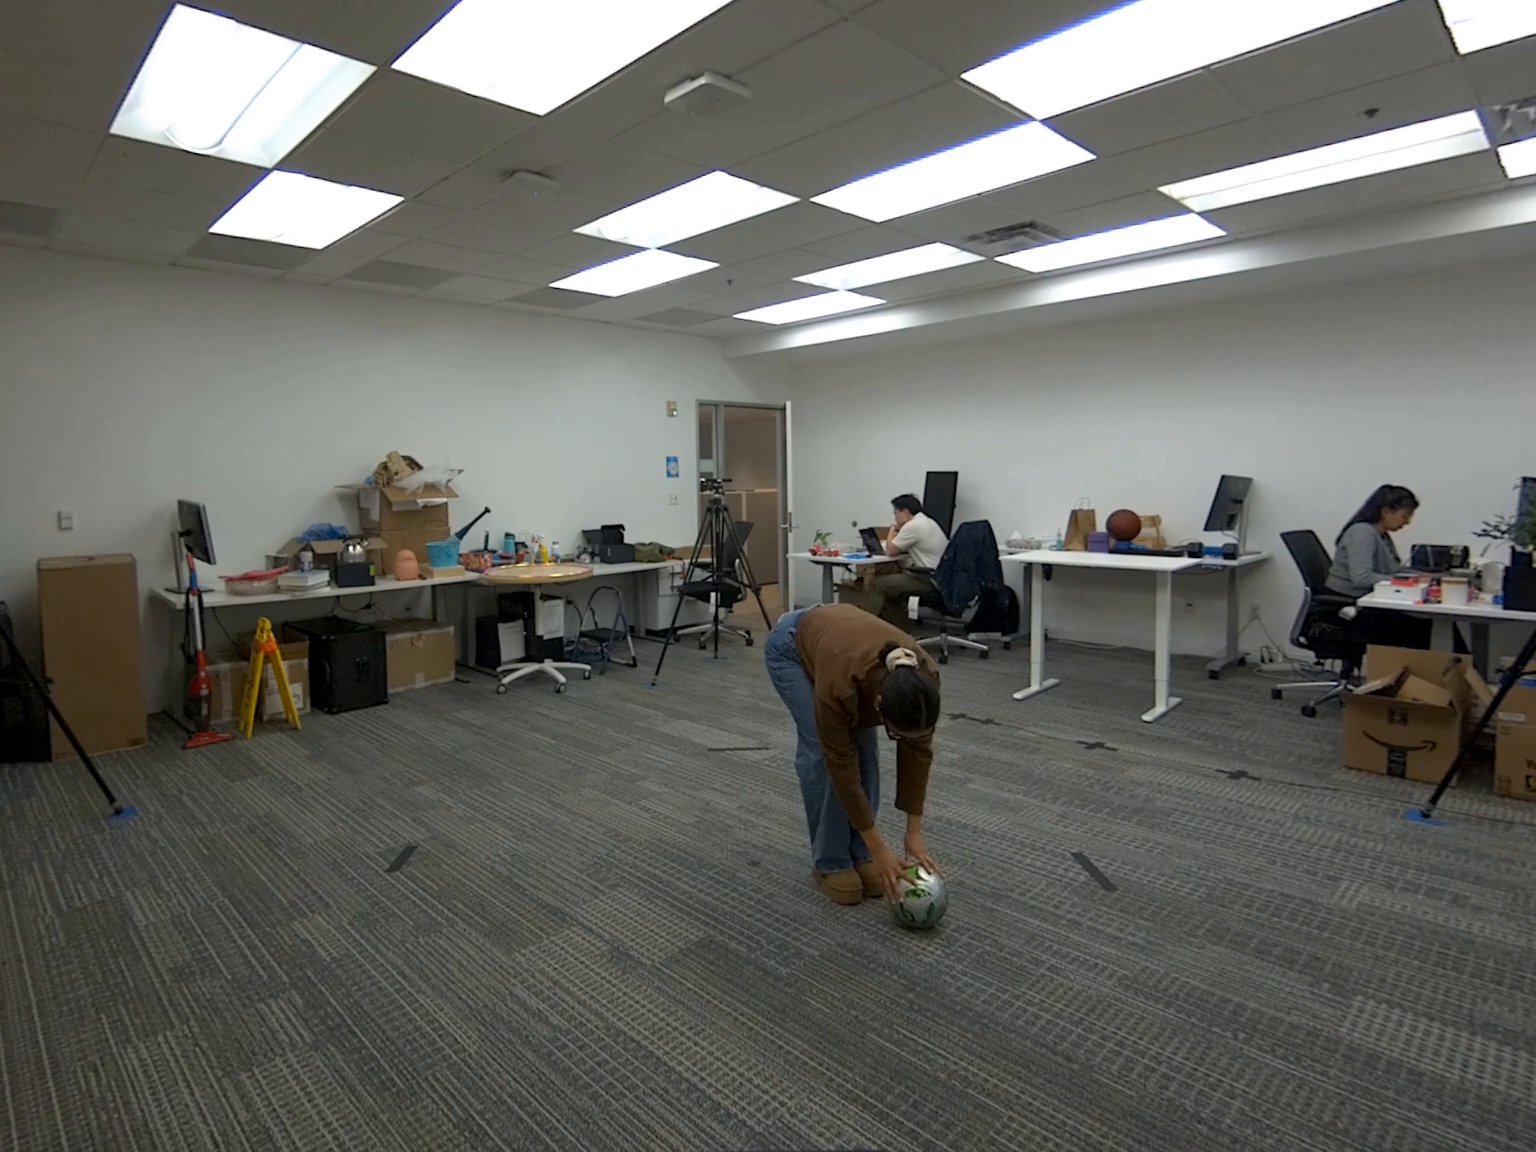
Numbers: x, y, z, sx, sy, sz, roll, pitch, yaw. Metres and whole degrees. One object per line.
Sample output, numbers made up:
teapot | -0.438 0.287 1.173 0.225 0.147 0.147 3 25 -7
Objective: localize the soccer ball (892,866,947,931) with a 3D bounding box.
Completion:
soccer ball | 0.471 0.989 2.662 0.187 0.187 0.188 -1 5 -2
